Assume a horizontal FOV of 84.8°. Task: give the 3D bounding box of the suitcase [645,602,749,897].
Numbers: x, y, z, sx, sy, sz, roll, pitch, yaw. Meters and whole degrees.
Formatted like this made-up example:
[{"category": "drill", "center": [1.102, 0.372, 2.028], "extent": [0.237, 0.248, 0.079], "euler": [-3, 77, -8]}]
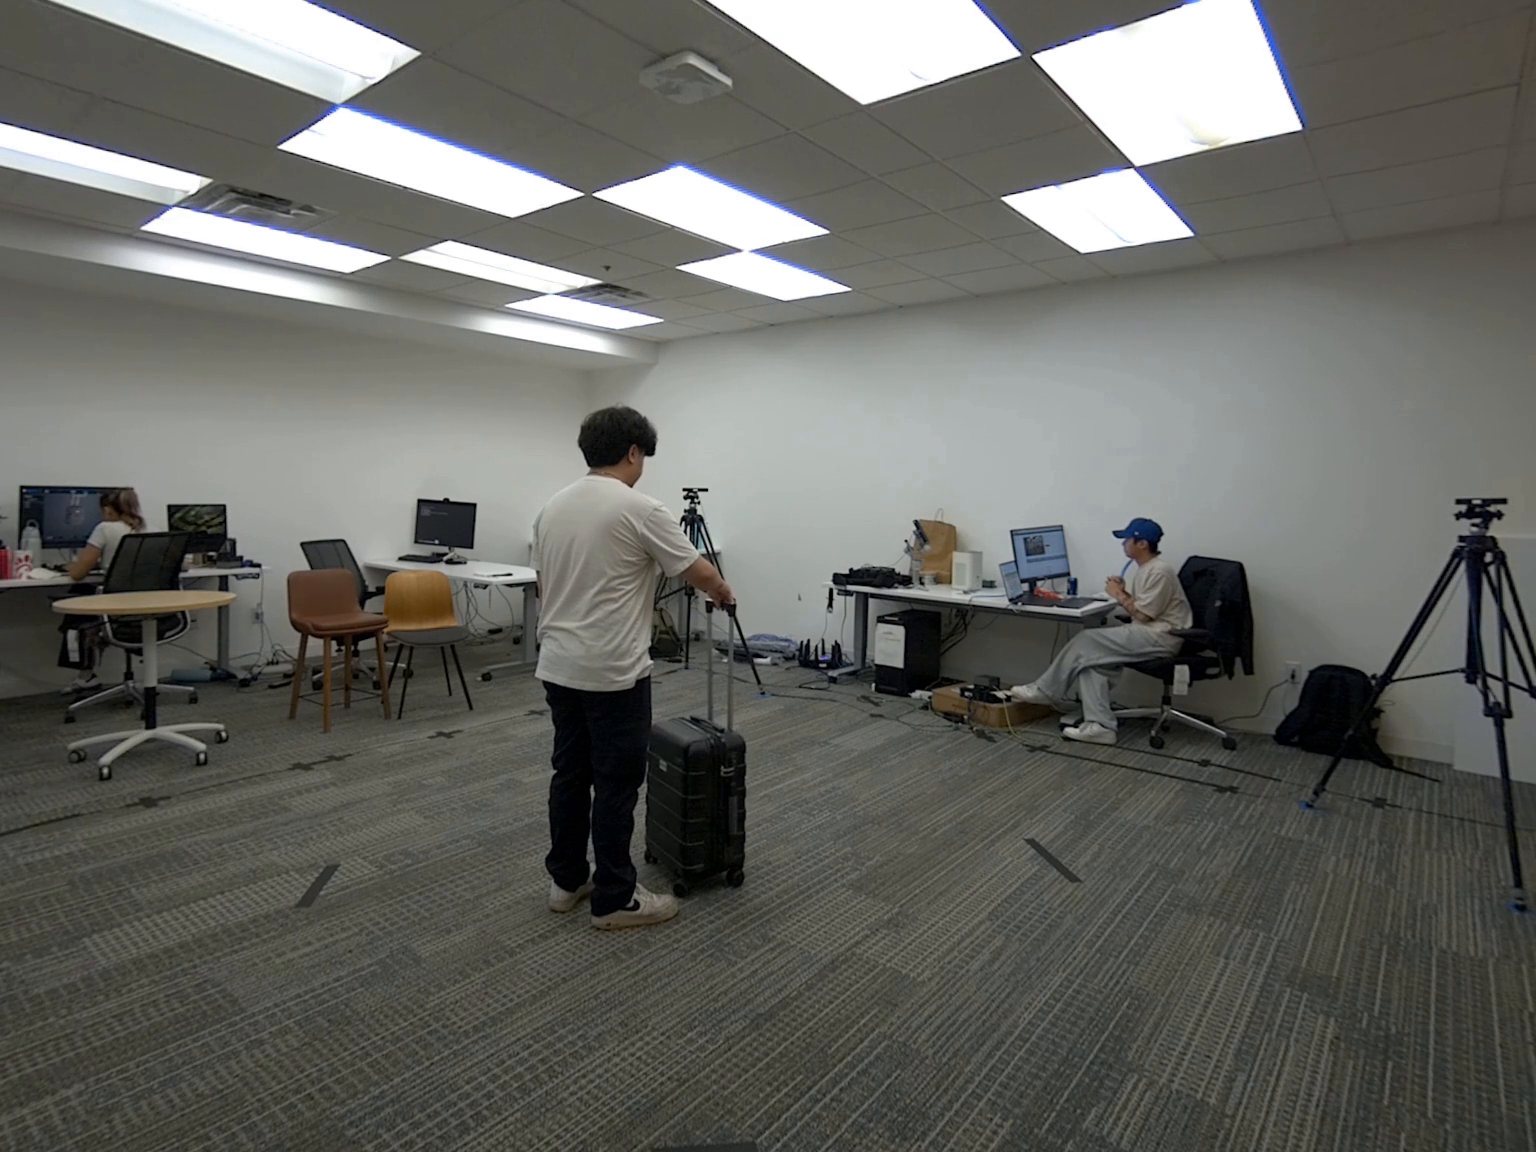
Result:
[{"category": "suitcase", "center": [-0.270, 0.597, 3.056], "extent": [0.250, 0.977, 0.394], "euler": [-1, 2, -28]}]
